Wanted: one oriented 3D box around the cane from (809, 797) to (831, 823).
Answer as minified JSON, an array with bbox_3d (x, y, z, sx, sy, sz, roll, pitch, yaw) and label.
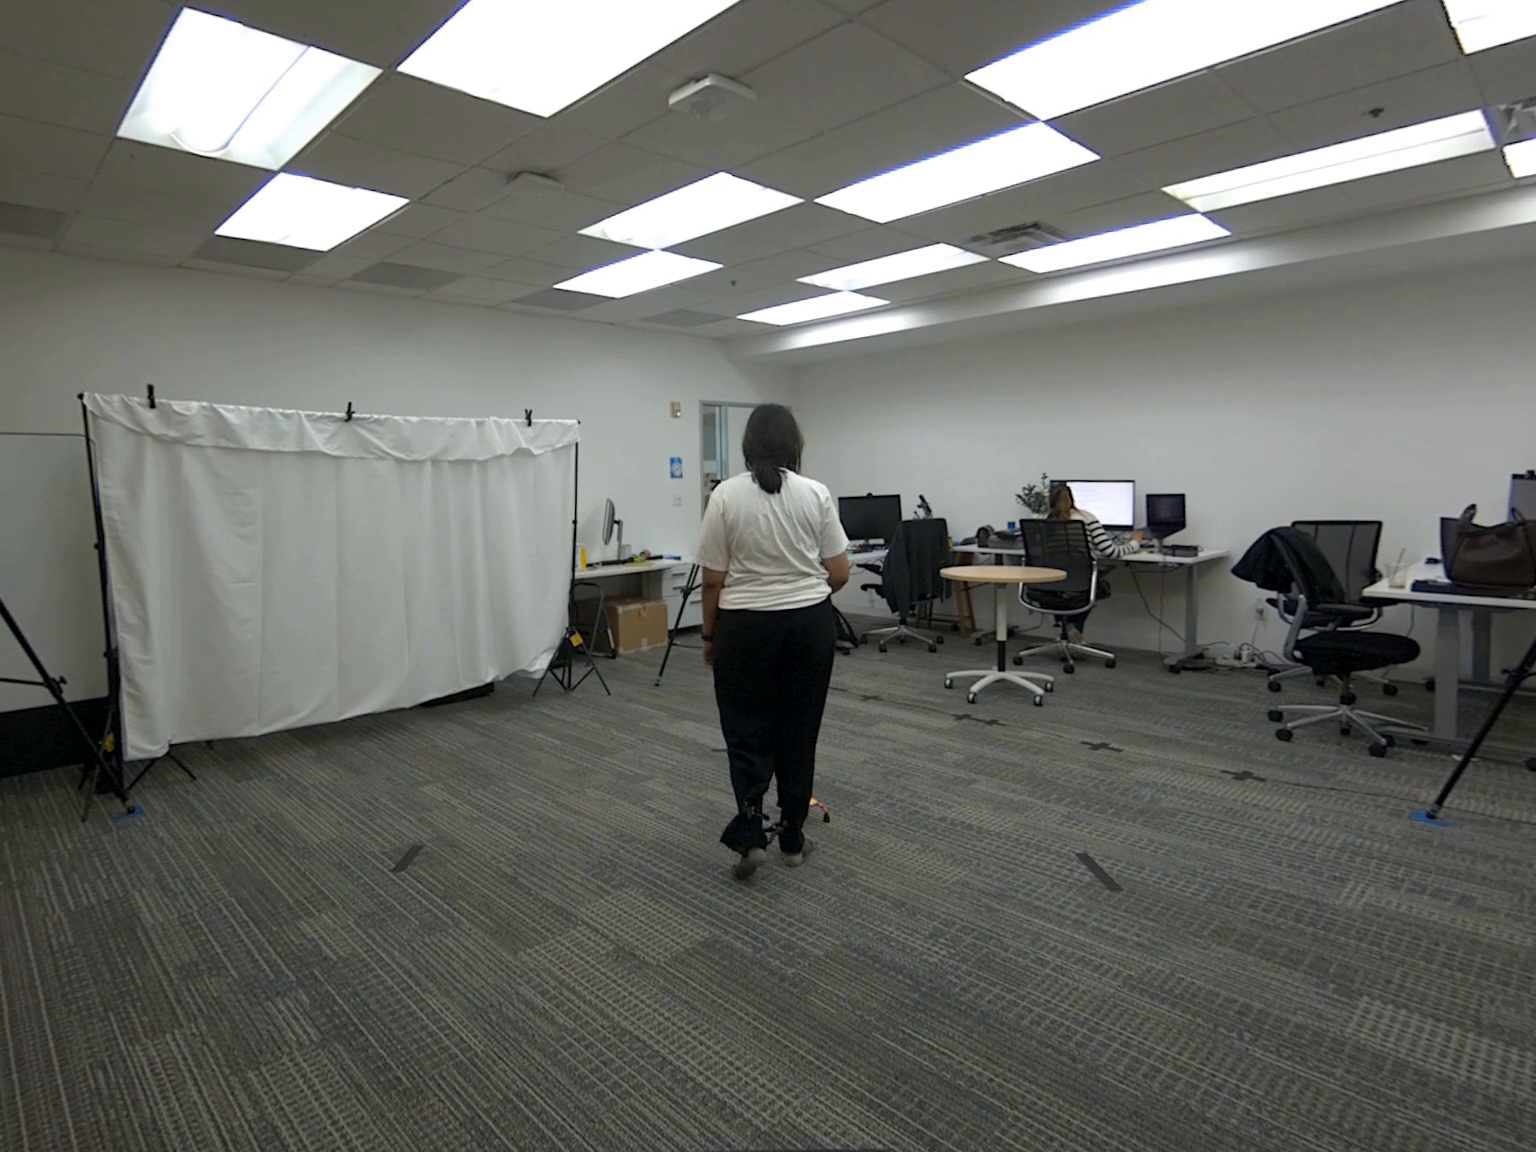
[{"bbox_3d":[0.162,0.544,3.458,0.148,0.899,0.213,-4,12,-26],"label":"cane"}]
